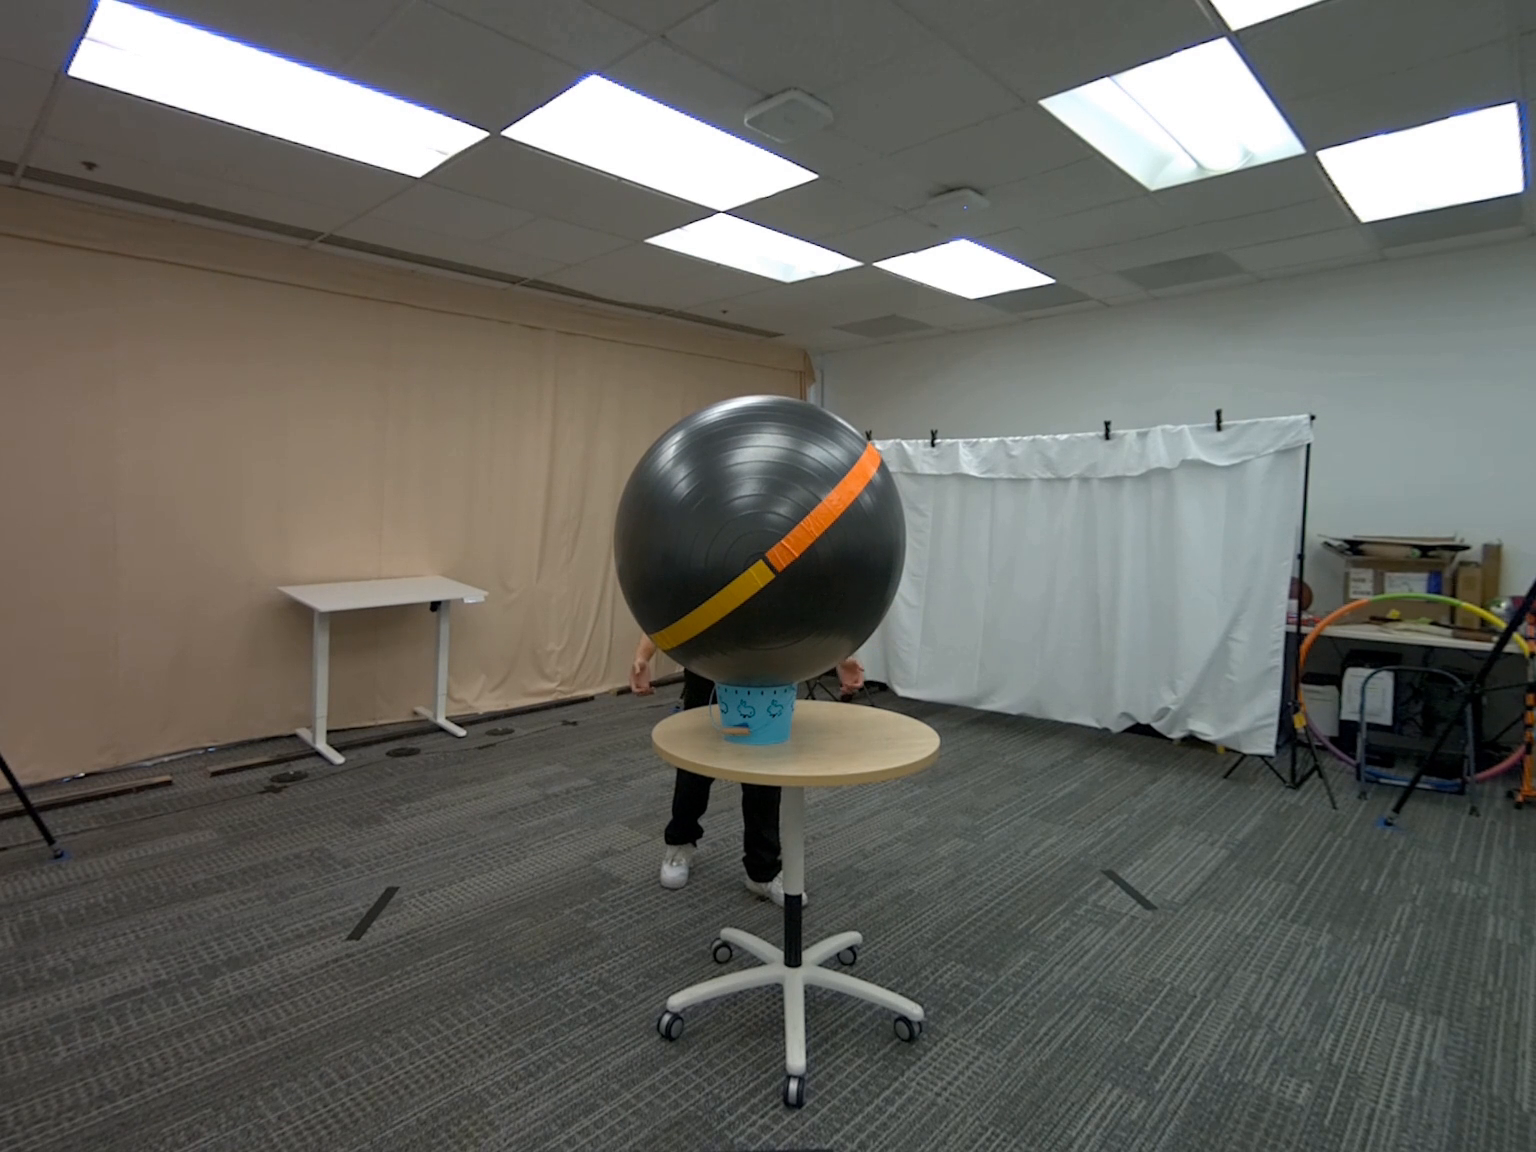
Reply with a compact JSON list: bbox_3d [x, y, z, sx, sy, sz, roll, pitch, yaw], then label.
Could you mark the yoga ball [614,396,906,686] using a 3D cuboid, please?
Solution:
[{"bbox_3d":[-0.020,-0.086,2.201,0.757,0.756,0.760,0,4,-2],"label":"yoga ball"}]
